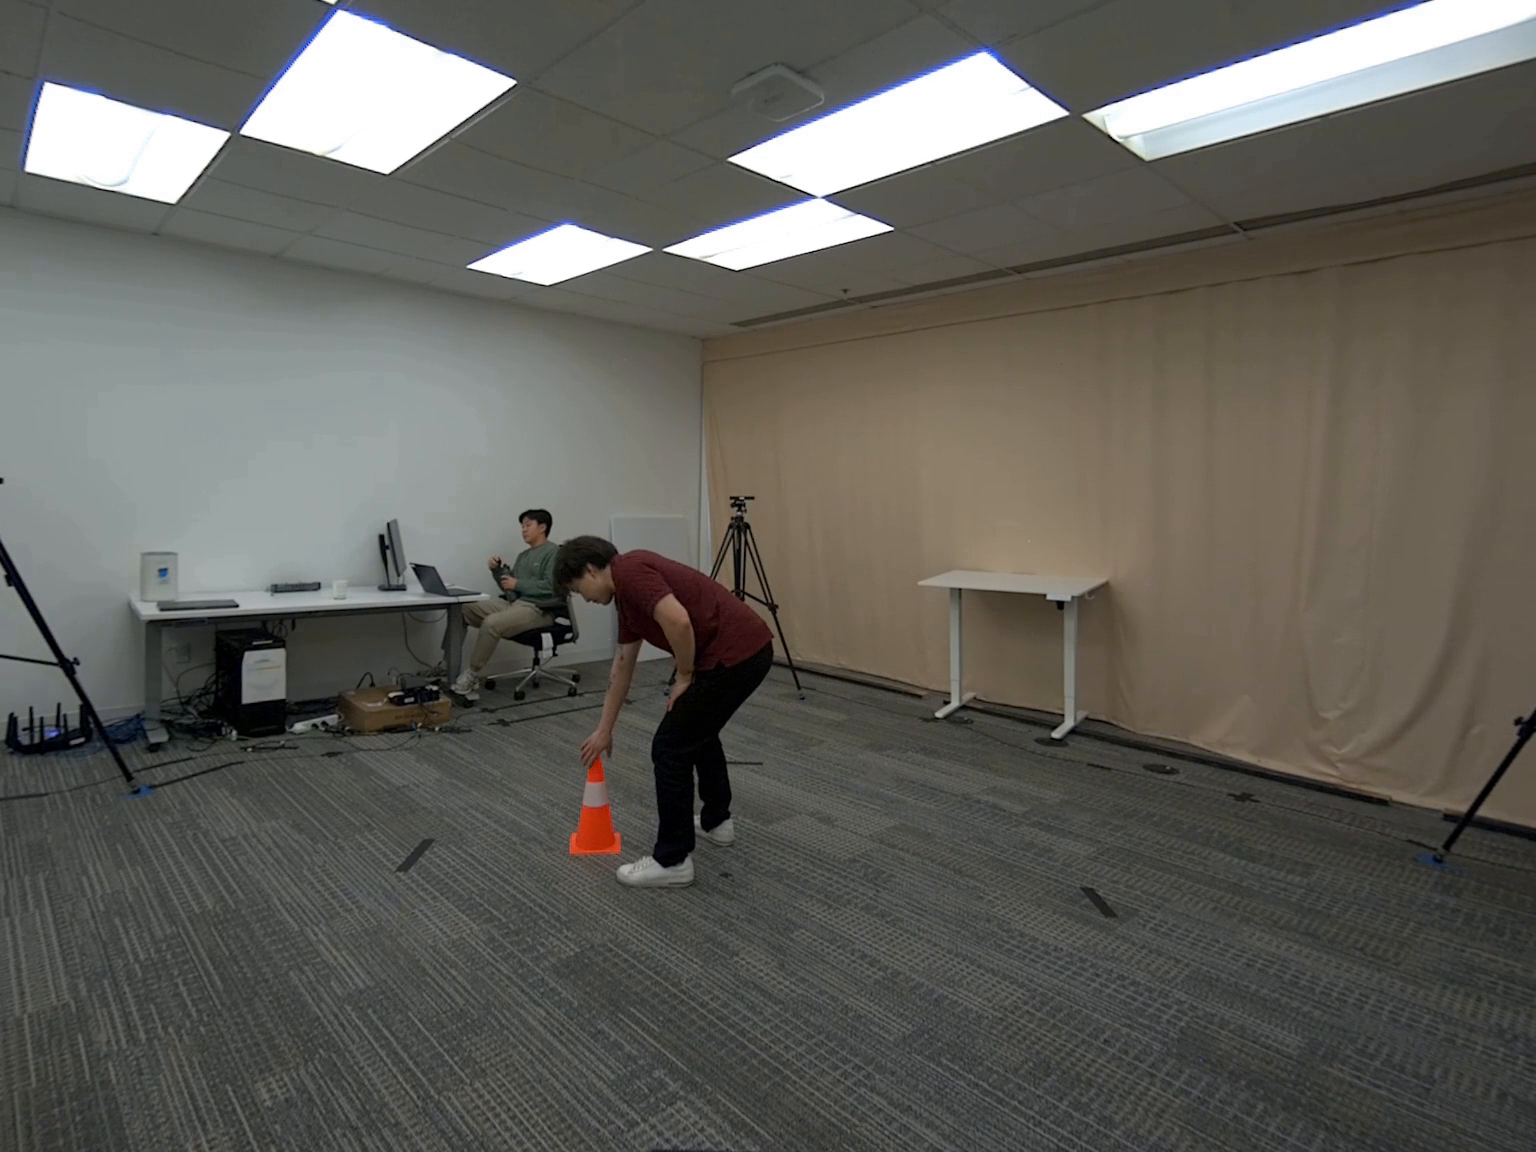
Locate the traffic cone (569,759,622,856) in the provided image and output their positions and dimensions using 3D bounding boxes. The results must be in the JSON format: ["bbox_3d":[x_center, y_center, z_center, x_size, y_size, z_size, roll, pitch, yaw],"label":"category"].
[{"bbox_3d":[-0.697,0.882,3.348,0.203,0.383,0.205,0,3,-10],"label":"traffic cone"}]
